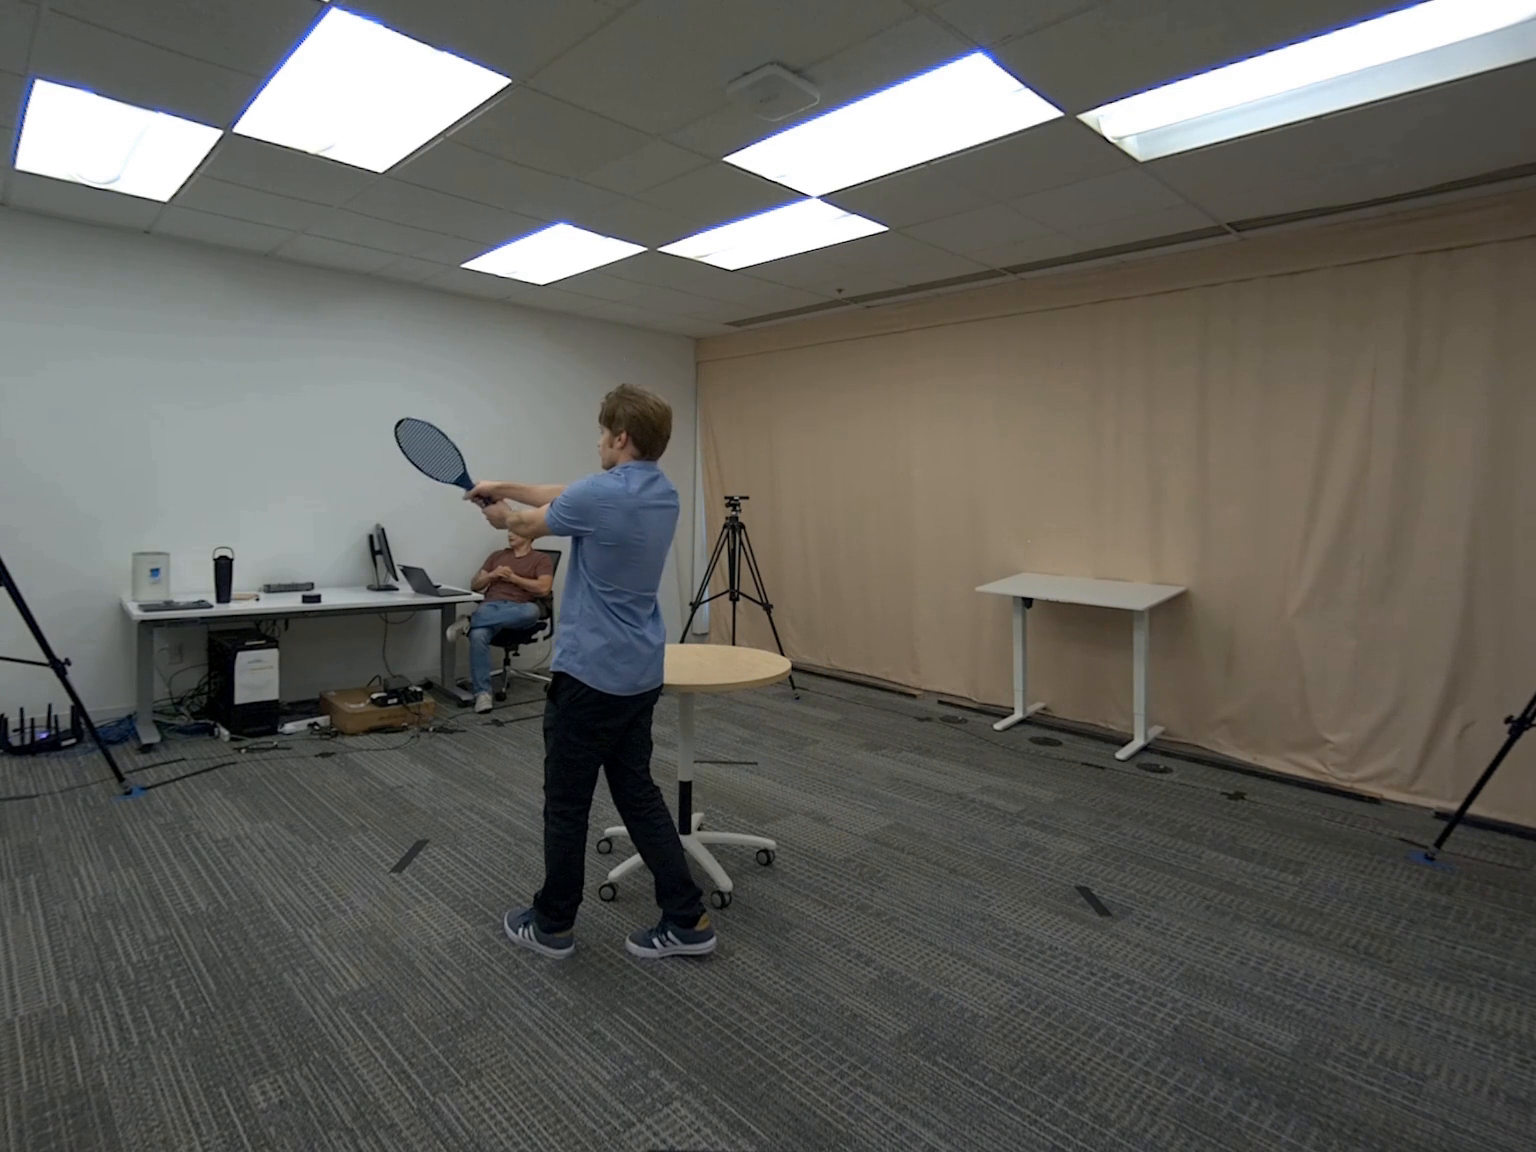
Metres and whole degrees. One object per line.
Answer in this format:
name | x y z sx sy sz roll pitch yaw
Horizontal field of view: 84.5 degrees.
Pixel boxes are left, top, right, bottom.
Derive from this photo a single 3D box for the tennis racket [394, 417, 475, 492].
tennis racket | -1.051 -0.344 2.768 0.216 0.425 0.032 -29 22 37
